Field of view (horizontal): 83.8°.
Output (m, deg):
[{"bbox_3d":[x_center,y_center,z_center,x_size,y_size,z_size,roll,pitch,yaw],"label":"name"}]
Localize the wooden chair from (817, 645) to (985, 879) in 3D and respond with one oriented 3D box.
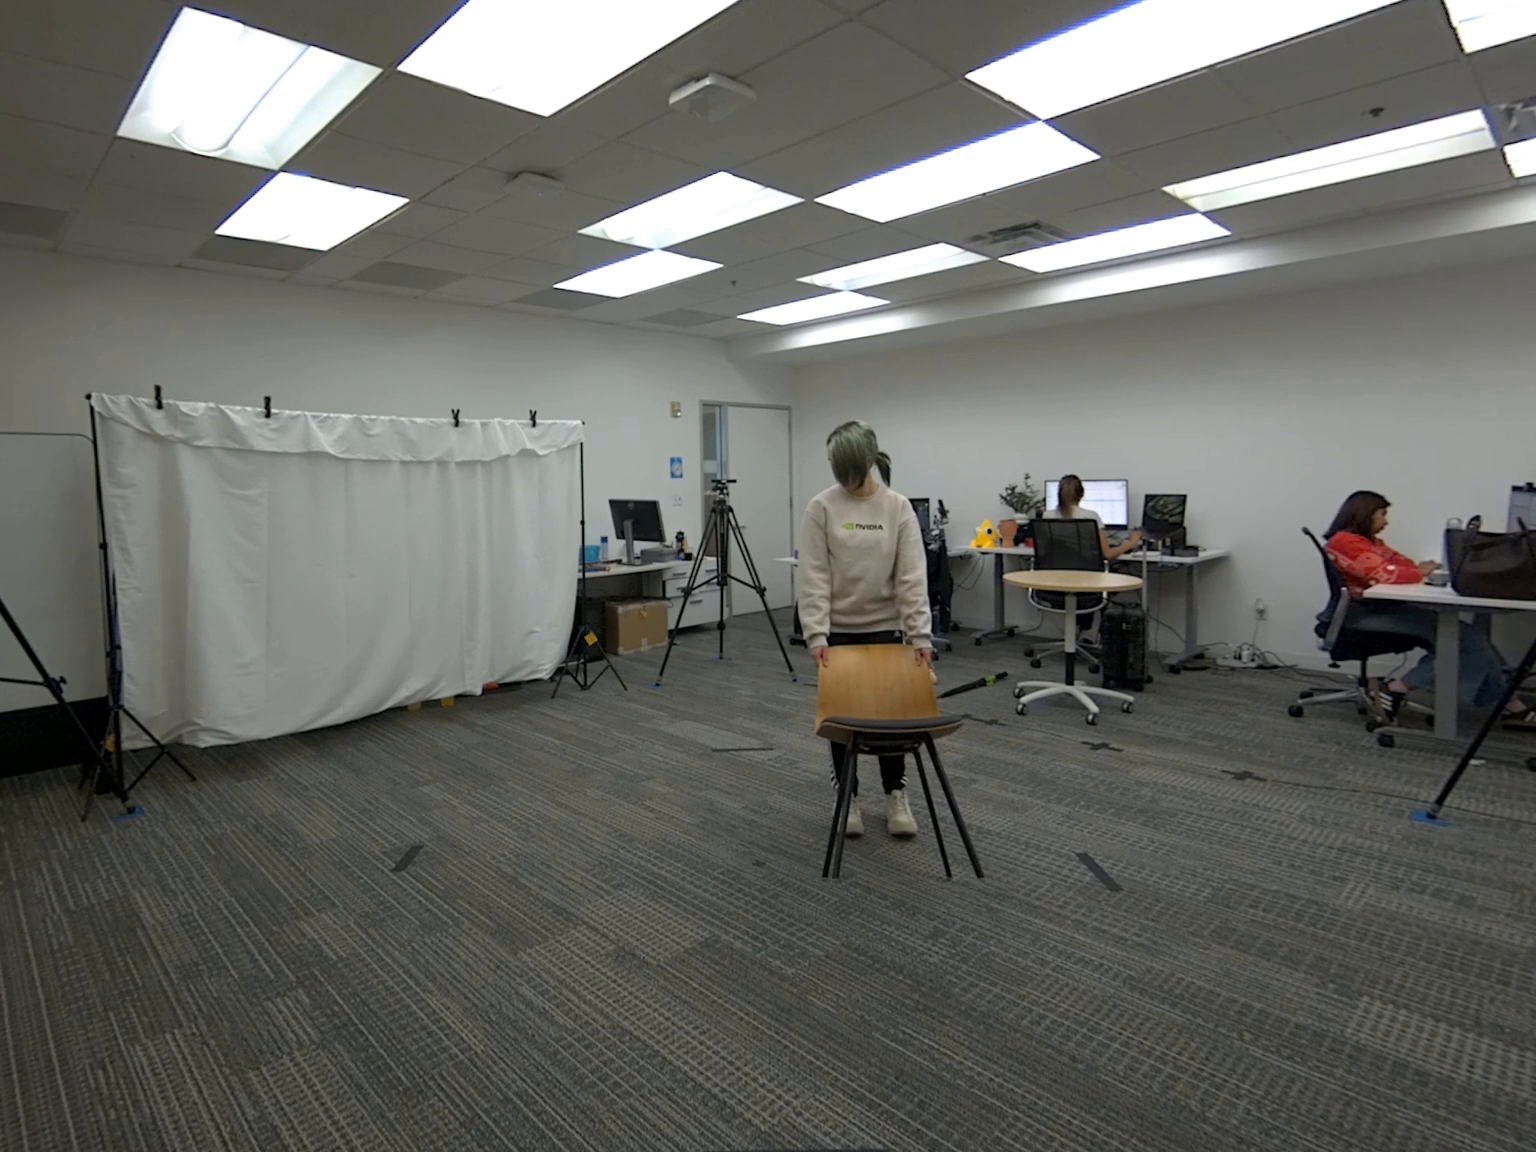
[{"bbox_3d":[0.414,0.582,2.906,0.478,0.896,0.512,-1,-25,0],"label":"wooden chair"}]
